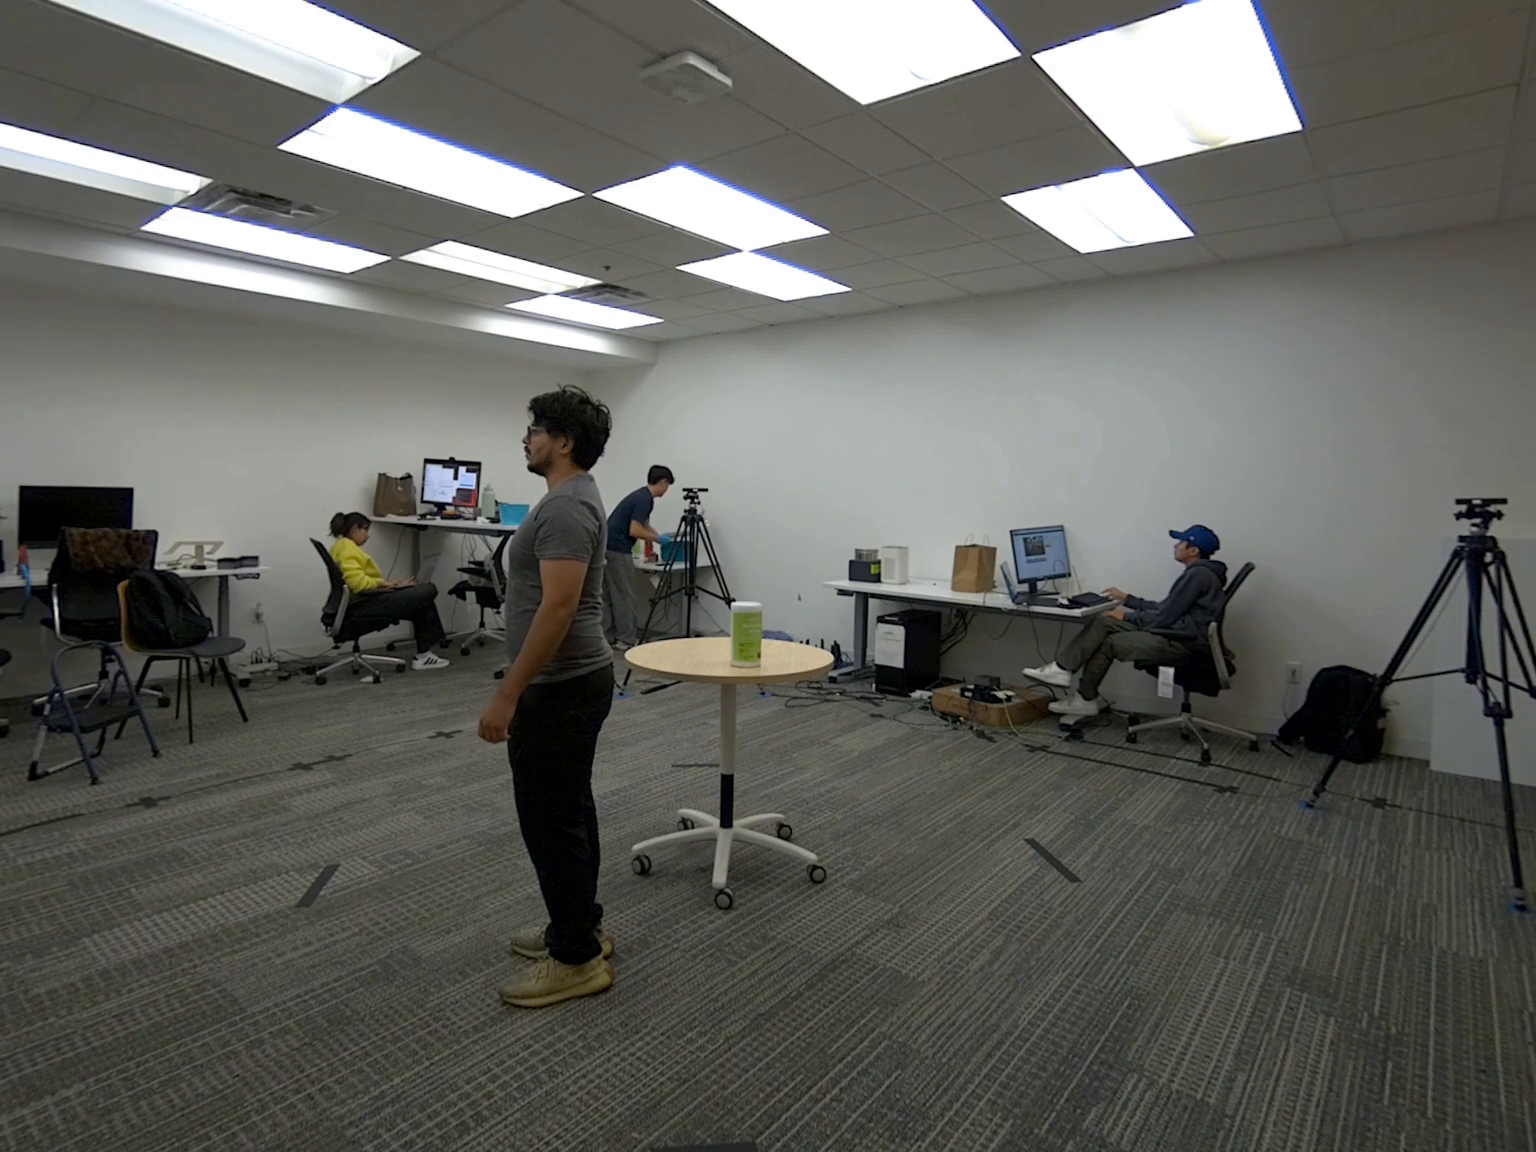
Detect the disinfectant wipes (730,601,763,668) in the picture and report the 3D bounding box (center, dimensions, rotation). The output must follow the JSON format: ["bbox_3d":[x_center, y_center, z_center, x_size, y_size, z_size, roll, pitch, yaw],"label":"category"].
[{"bbox_3d":[-0.087,0.200,2.937,0.118,0.216,0.118,0,4,-2],"label":"disinfectant wipes"}]
